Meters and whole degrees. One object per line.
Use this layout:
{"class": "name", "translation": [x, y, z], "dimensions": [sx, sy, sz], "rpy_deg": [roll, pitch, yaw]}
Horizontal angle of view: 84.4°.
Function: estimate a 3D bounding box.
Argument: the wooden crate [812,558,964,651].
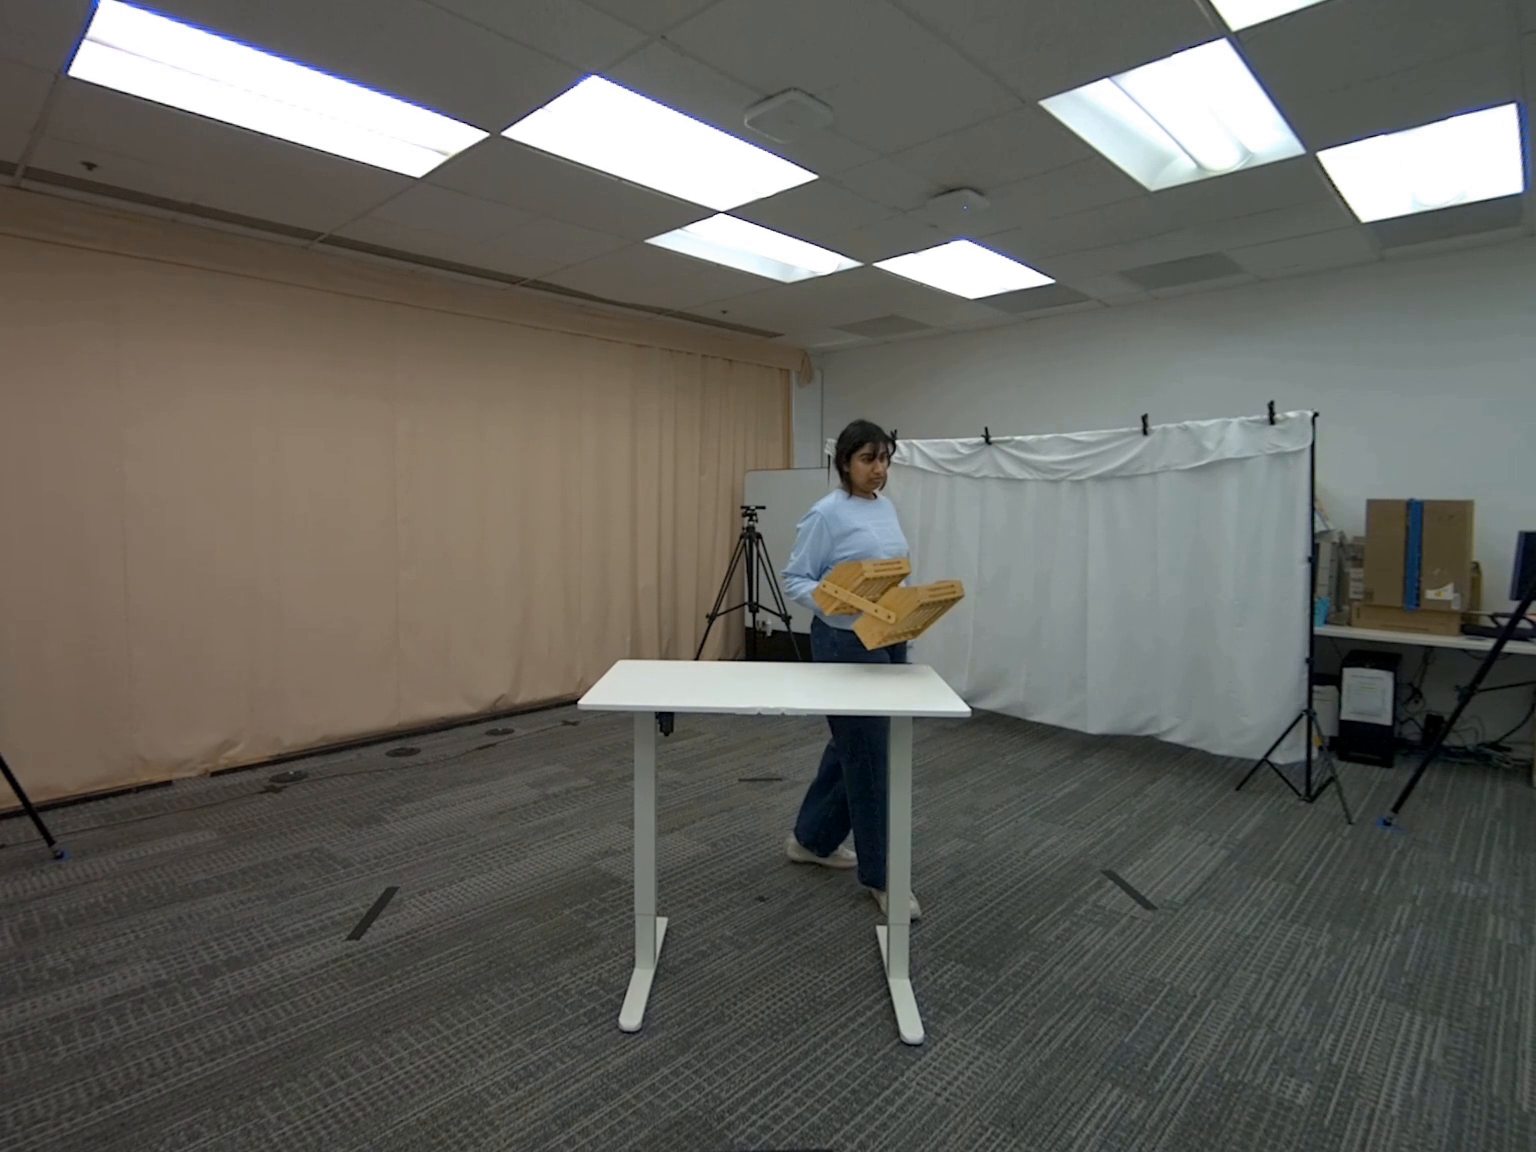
{"class": "wooden crate", "translation": [0.374, 0.046, 2.637], "dimensions": [0.315, 0.280, 0.304], "rpy_deg": [-4, -37, -52]}
